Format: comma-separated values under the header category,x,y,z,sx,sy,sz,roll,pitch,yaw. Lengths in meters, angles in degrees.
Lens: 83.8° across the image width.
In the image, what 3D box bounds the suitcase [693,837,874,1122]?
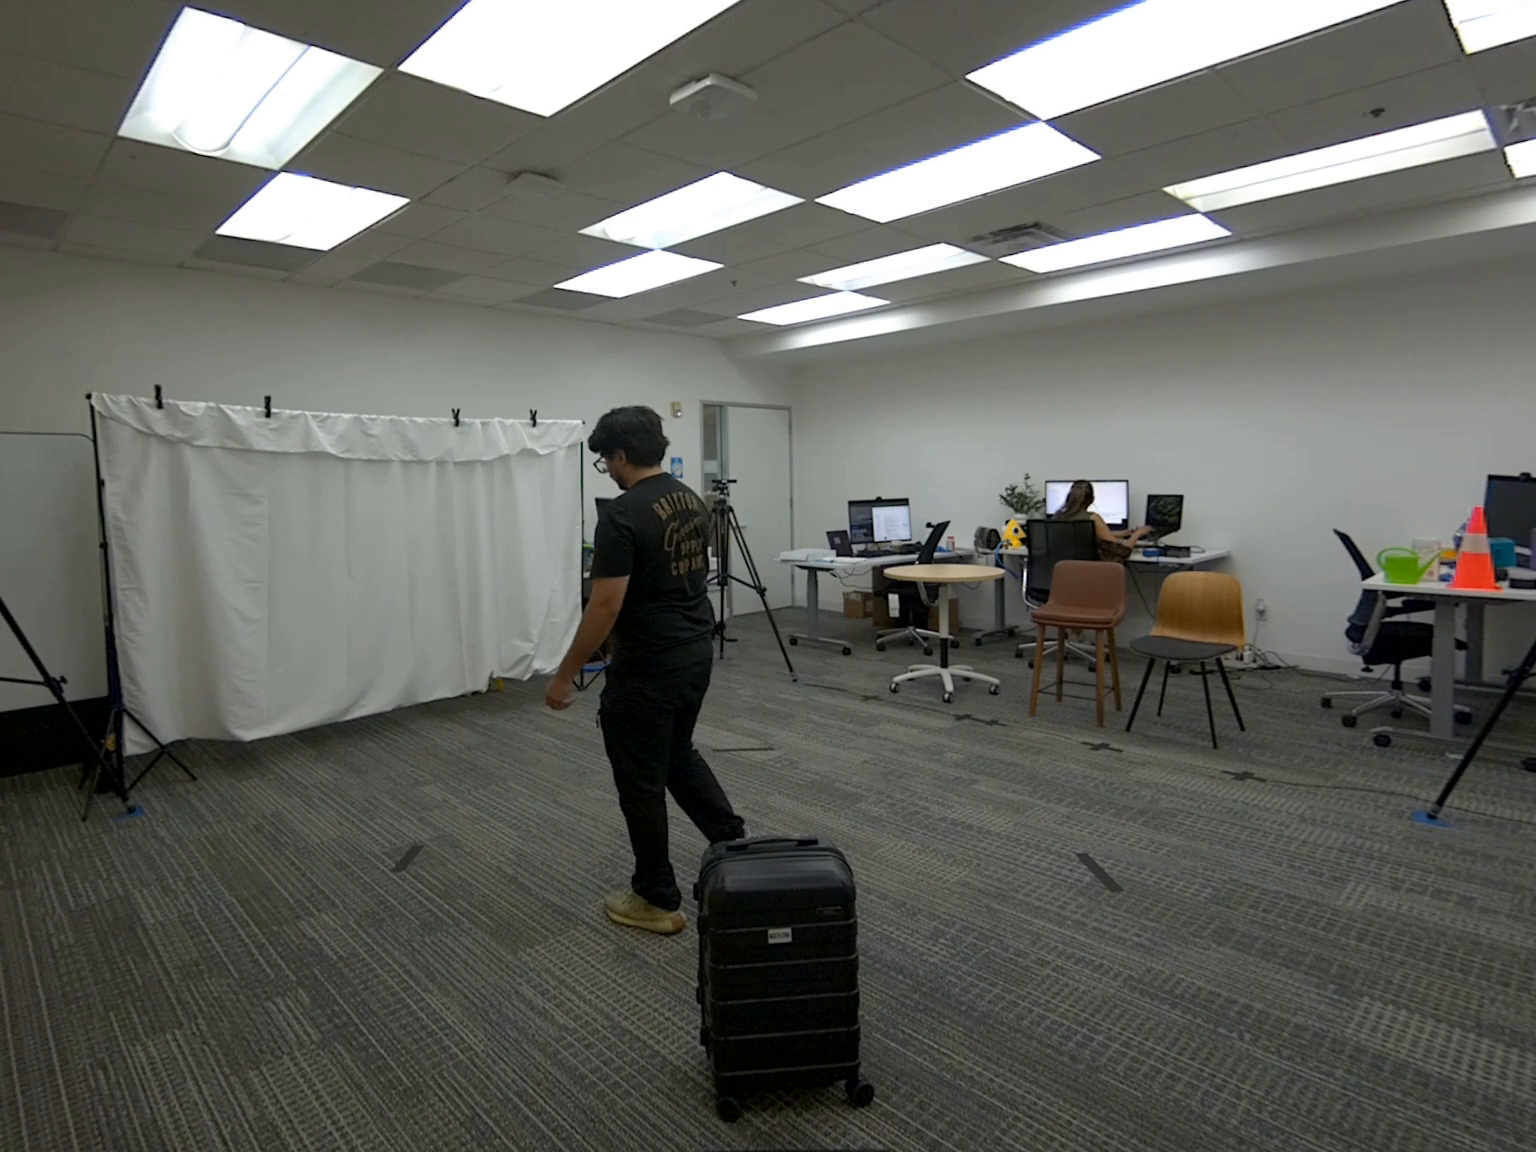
category,x,y,z,sx,sy,sz,roll,pitch,yaw
suitcase,0.035,0.898,1.978,0.373,0.548,0.250,-2,2,-6
